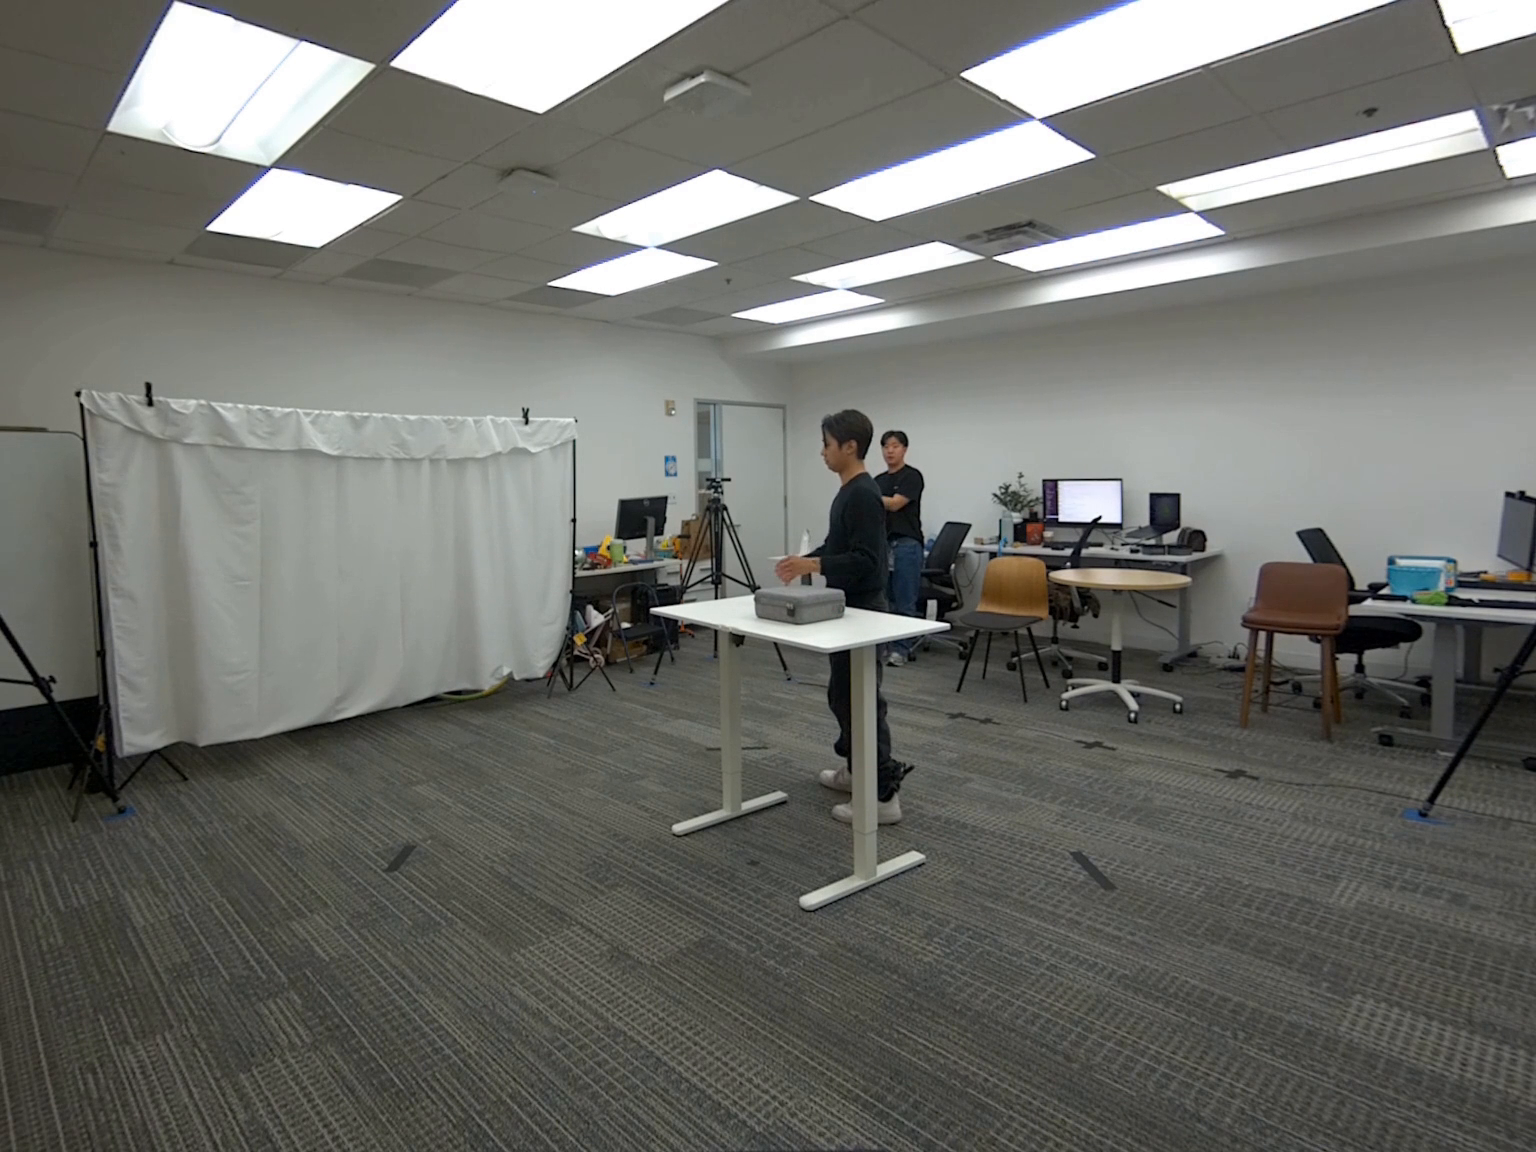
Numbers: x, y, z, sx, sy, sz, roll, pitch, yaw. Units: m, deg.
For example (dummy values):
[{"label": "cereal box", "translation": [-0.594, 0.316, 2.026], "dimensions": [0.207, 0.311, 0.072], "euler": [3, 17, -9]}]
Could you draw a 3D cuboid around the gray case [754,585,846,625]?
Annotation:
[{"label": "gray case", "translation": [0.113, 0.103, 3.133], "dimensions": [0.254, 0.104, 0.265], "euler": [-5, 8, -38]}]
